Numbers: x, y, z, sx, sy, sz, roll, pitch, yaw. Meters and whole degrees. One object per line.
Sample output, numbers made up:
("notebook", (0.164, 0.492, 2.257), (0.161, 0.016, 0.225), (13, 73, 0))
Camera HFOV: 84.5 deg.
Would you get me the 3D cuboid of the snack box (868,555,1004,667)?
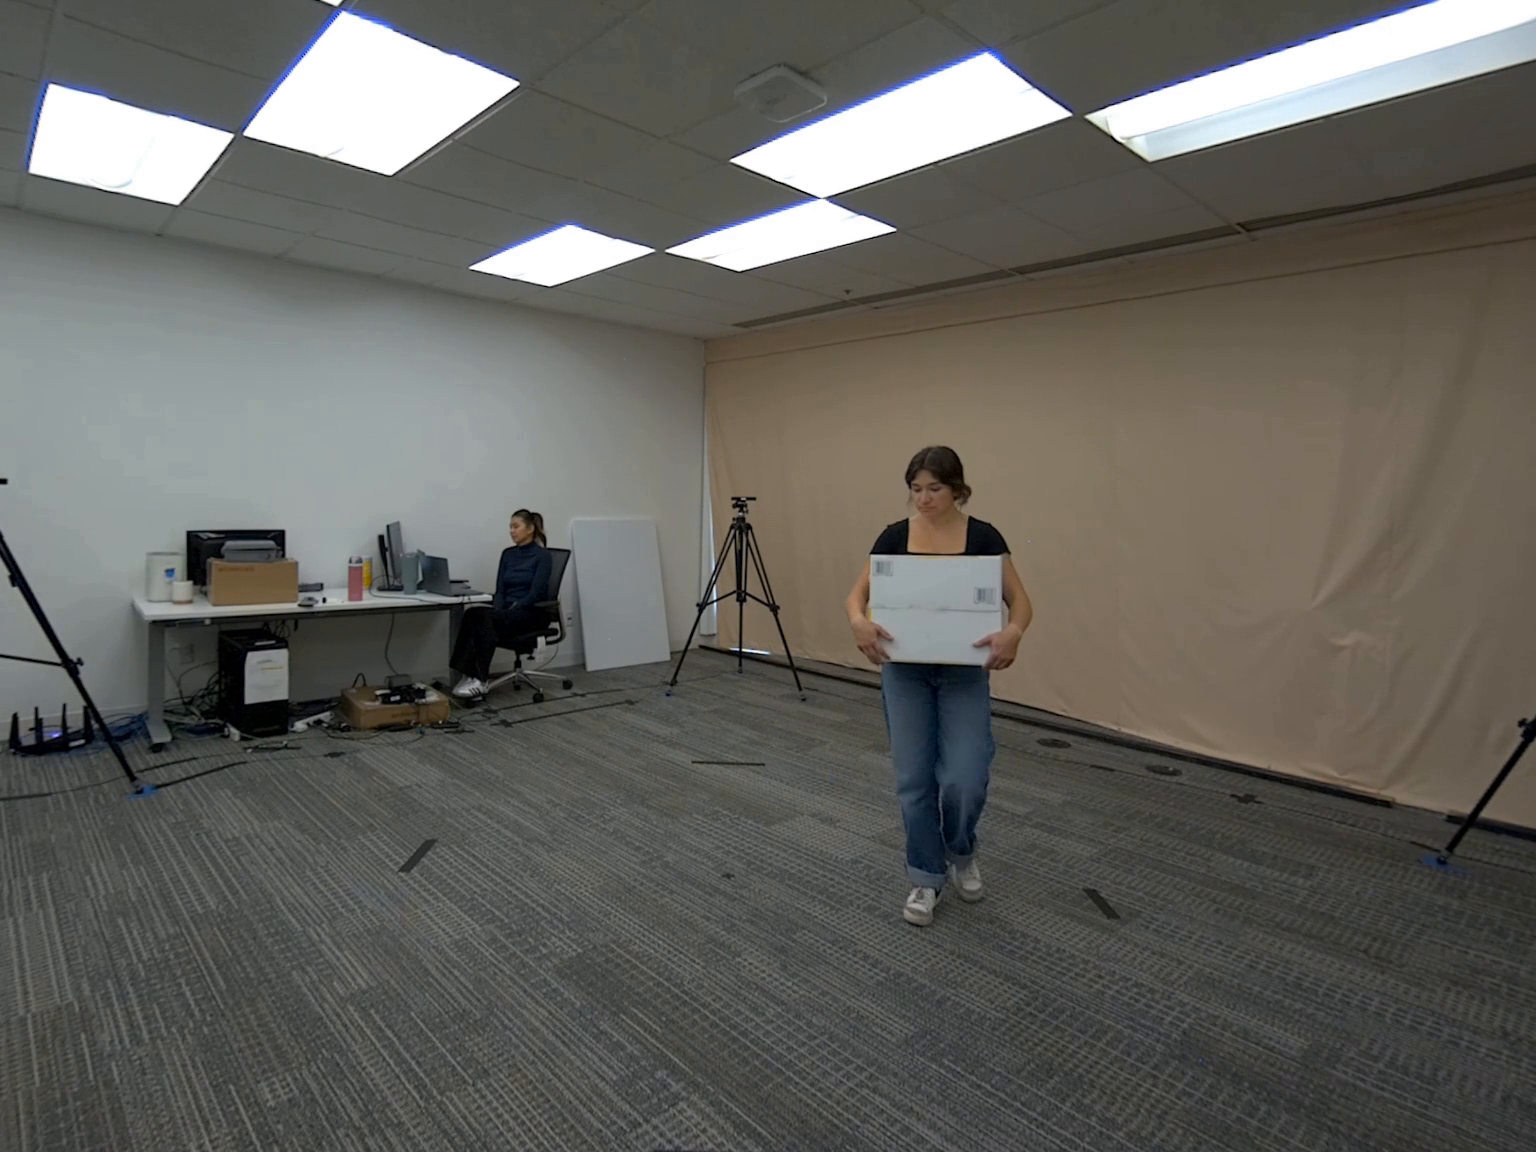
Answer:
("snack box", (0.538, 0.105, 2.699), (0.411, 0.341, 0.202), (0, -2, 19))
